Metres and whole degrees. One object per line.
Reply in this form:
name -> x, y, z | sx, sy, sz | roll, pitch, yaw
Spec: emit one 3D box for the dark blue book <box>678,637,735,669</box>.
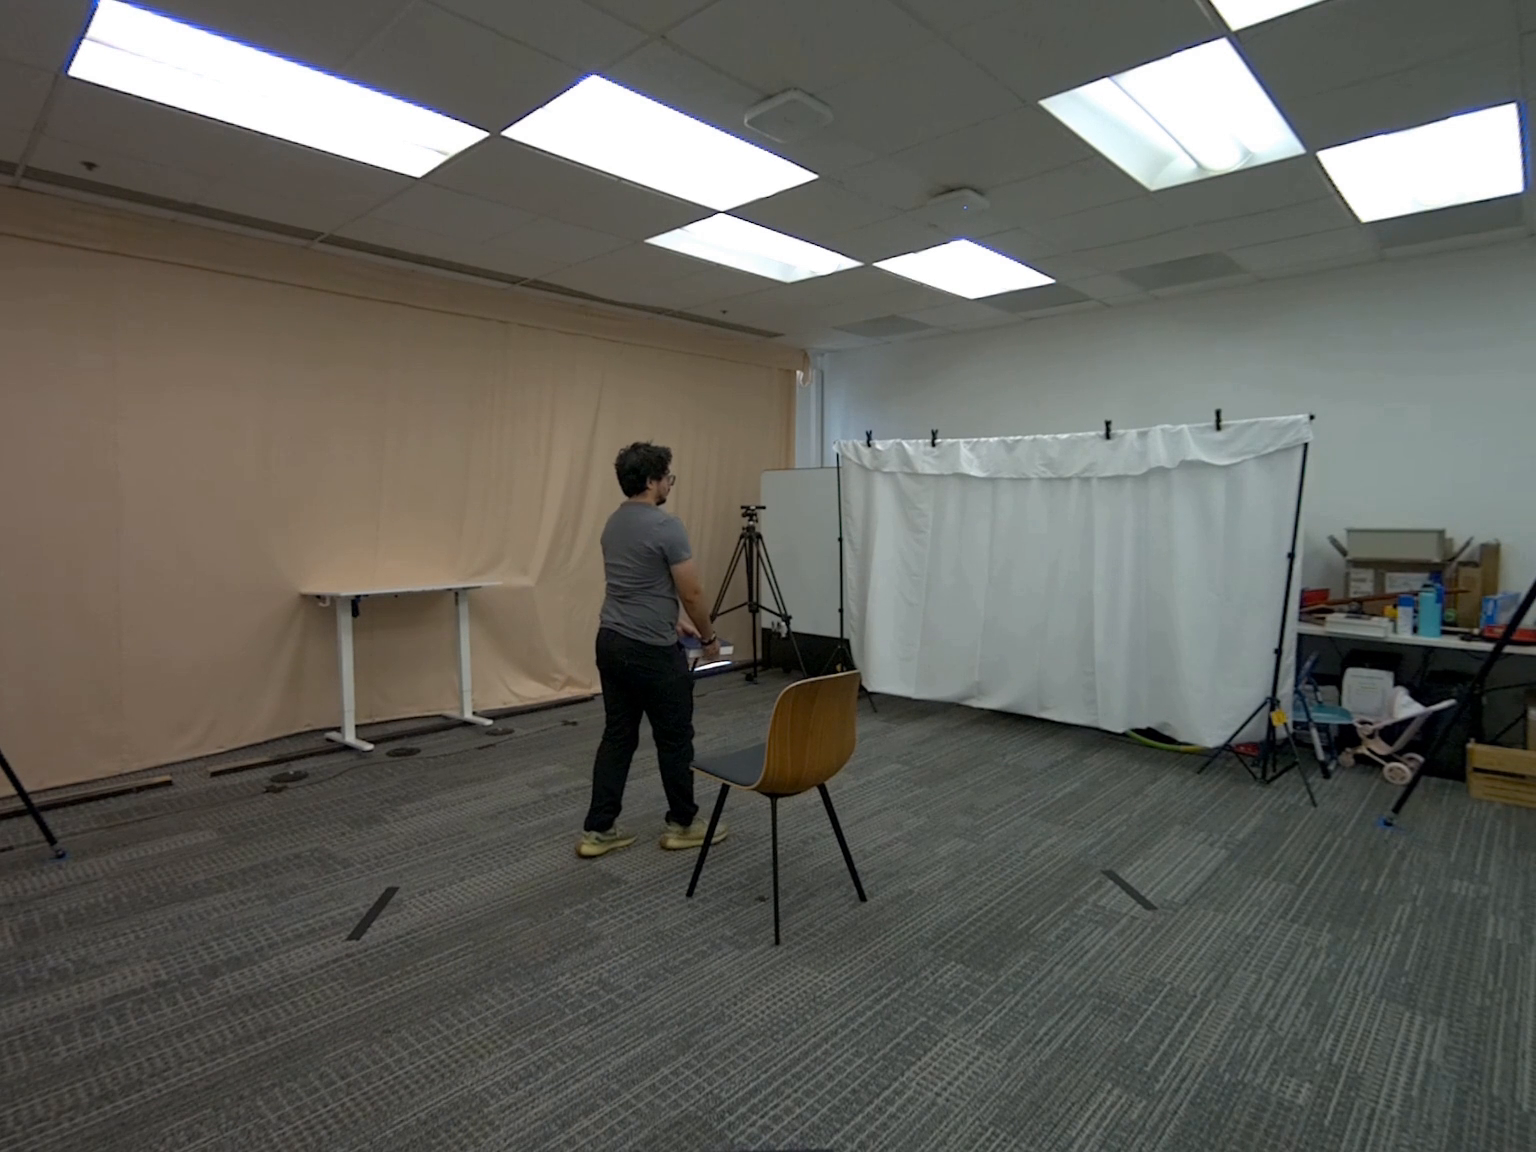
dark blue book -> -0.278, 0.304, 3.615 | 0.237, 0.045, 0.169 | -2, 14, -41
